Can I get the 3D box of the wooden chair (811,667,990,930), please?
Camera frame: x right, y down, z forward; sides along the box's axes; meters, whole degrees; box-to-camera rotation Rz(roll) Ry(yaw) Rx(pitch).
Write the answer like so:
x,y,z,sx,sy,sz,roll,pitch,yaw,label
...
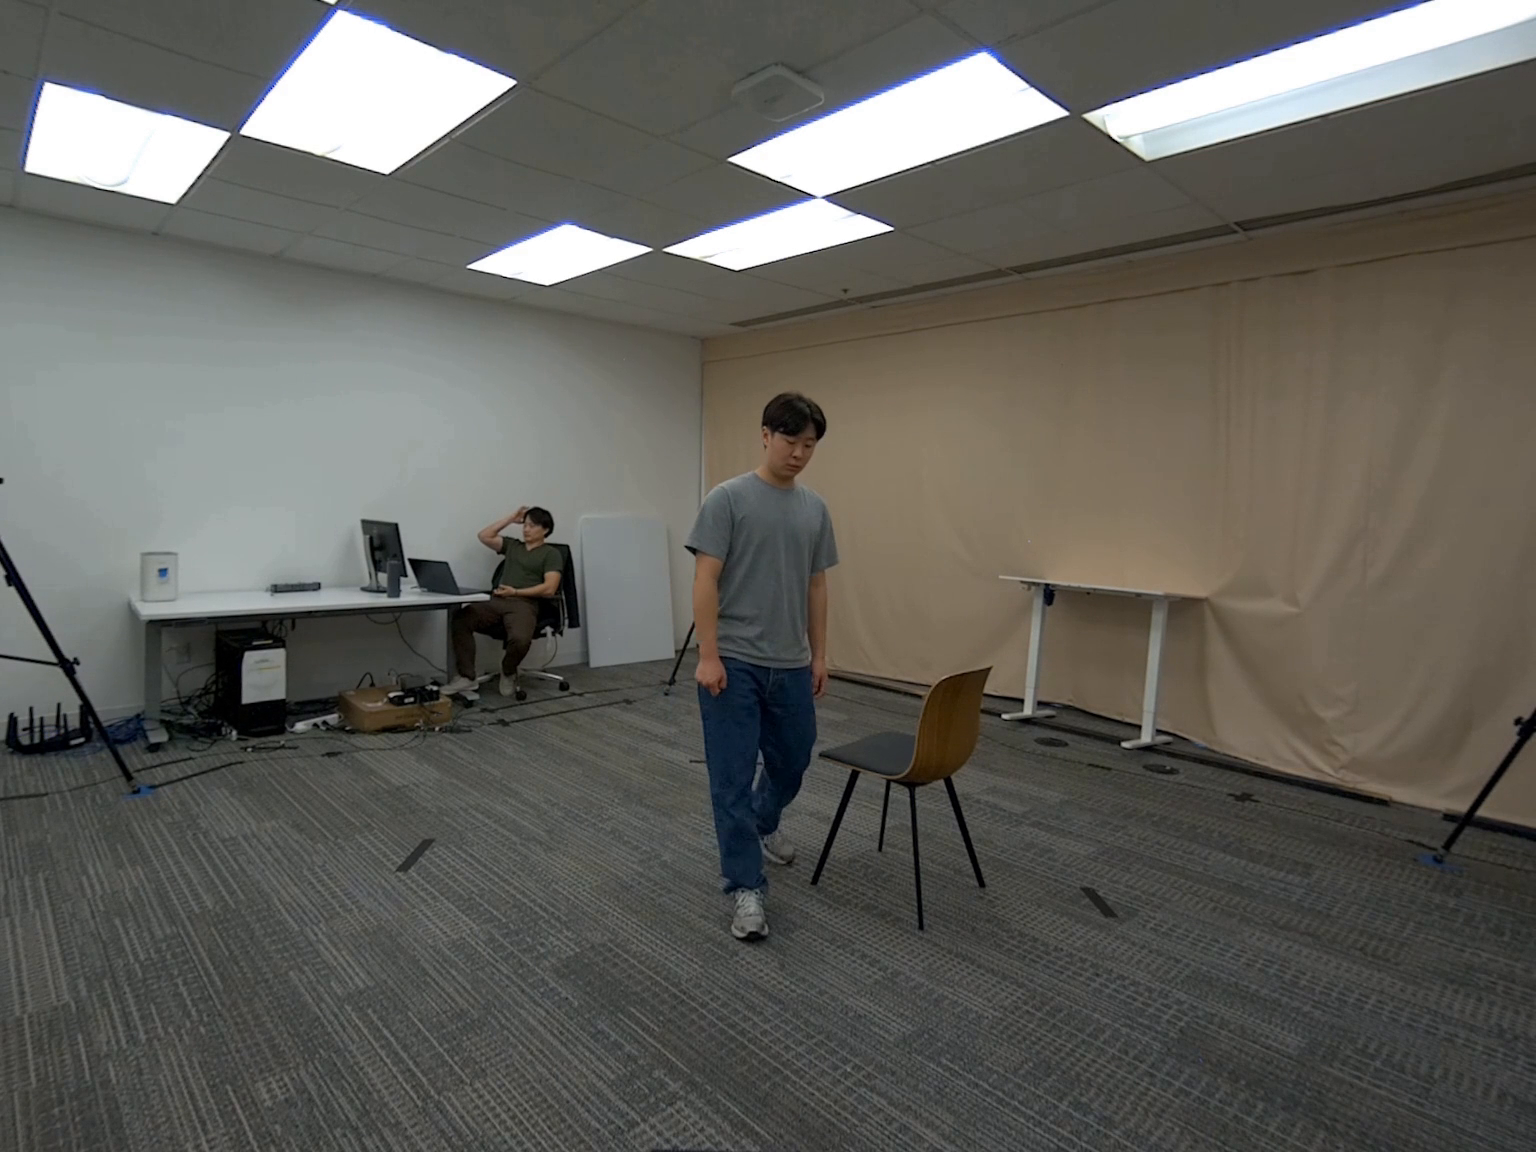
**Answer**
x,y,z,sx,sy,sz,roll,pitch,yaw,label
0.472,0.698,3.025,0.537,0.873,0.467,10,8,41,wooden chair
